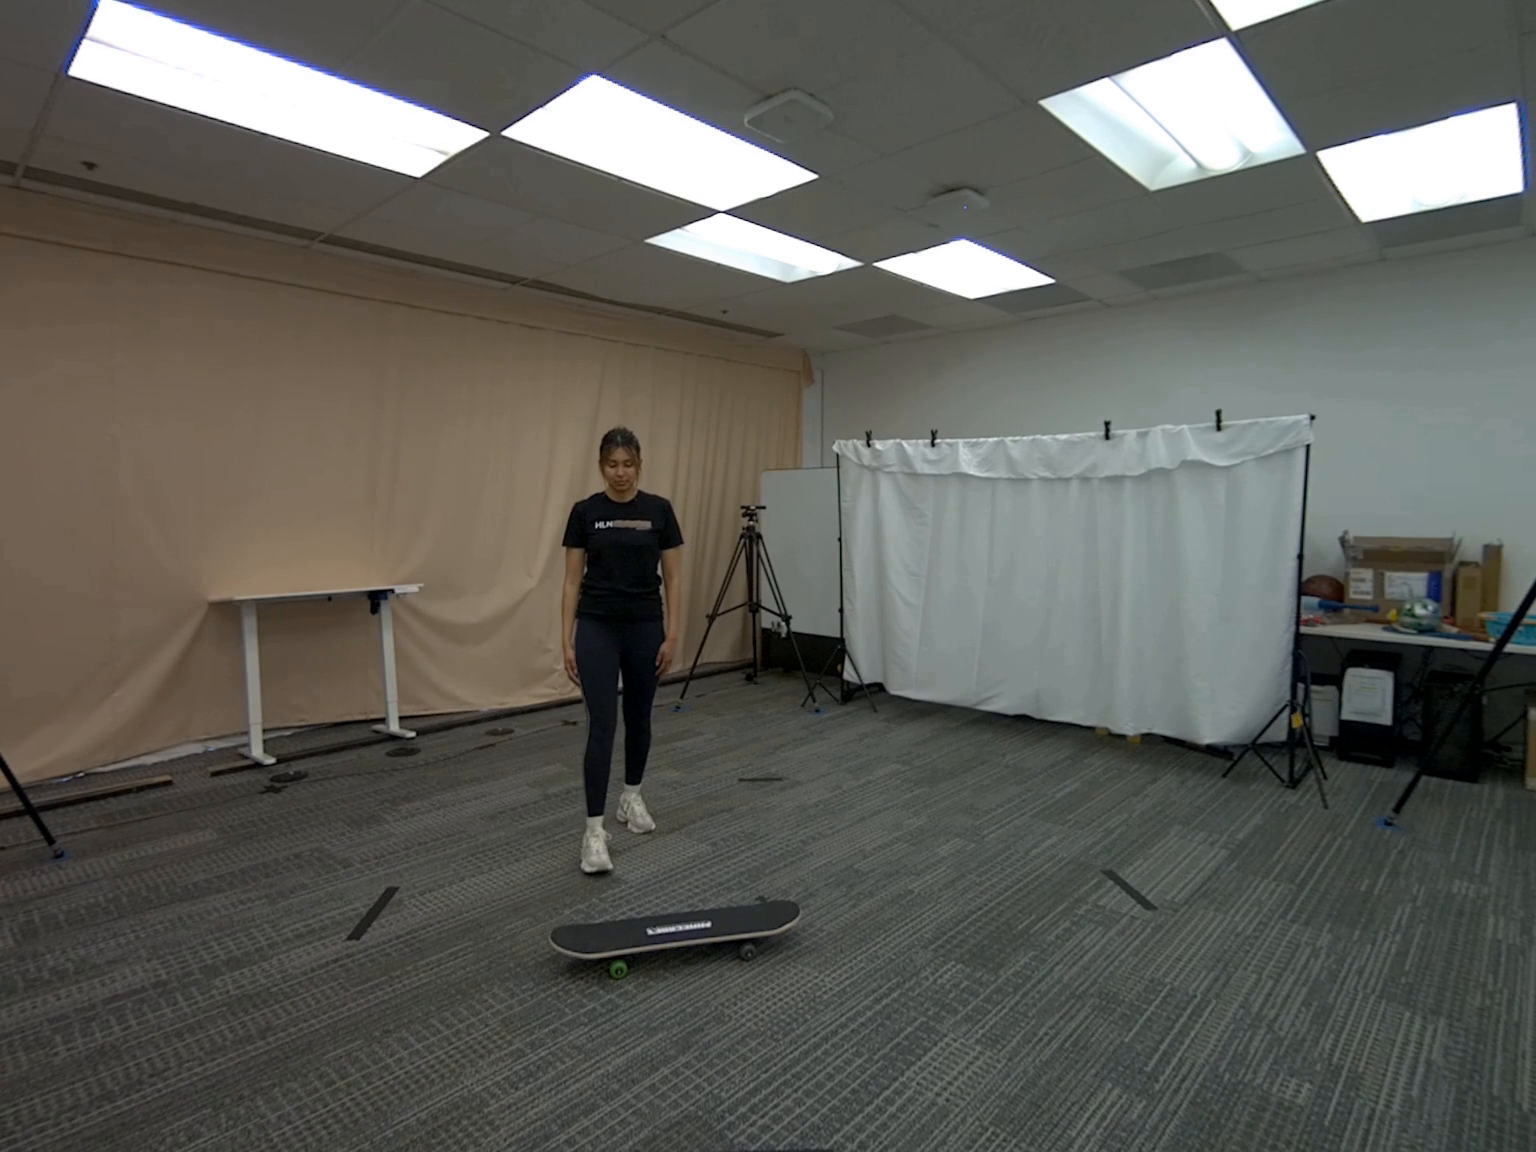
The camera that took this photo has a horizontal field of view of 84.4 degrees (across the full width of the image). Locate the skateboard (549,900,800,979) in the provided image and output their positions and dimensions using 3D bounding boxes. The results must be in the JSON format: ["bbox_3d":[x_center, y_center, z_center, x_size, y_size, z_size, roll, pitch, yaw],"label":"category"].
[{"bbox_3d":[-0.270,1.122,2.601,0.774,0.110,0.196,-1,4,-13],"label":"skateboard"}]
